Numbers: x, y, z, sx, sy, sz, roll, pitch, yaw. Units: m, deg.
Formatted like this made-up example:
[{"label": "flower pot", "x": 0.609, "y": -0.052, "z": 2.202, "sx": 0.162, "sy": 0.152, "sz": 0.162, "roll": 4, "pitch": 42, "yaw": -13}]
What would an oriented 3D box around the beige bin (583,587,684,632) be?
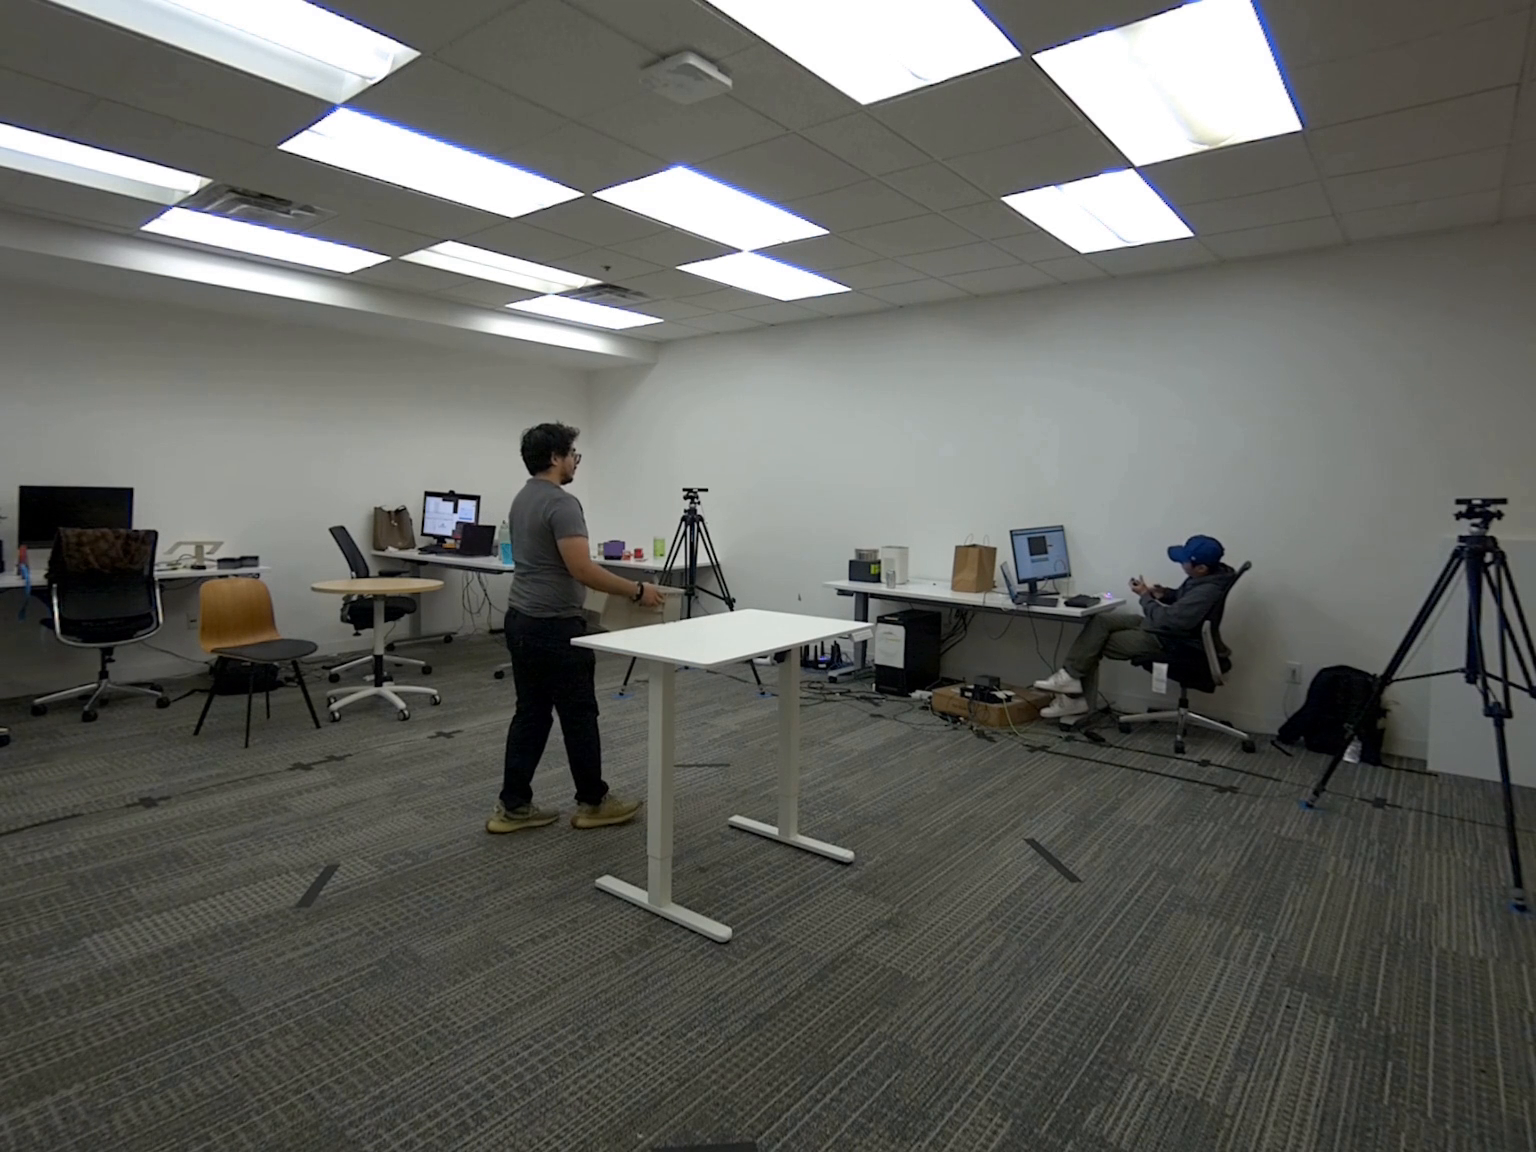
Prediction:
[{"label": "beige bin", "x": -0.634, "y": 0.132, "z": 3.654, "sx": 0.367, "sy": 0.189, "sz": 0.434, "roll": 1, "pitch": 2, "yaw": -31}]
